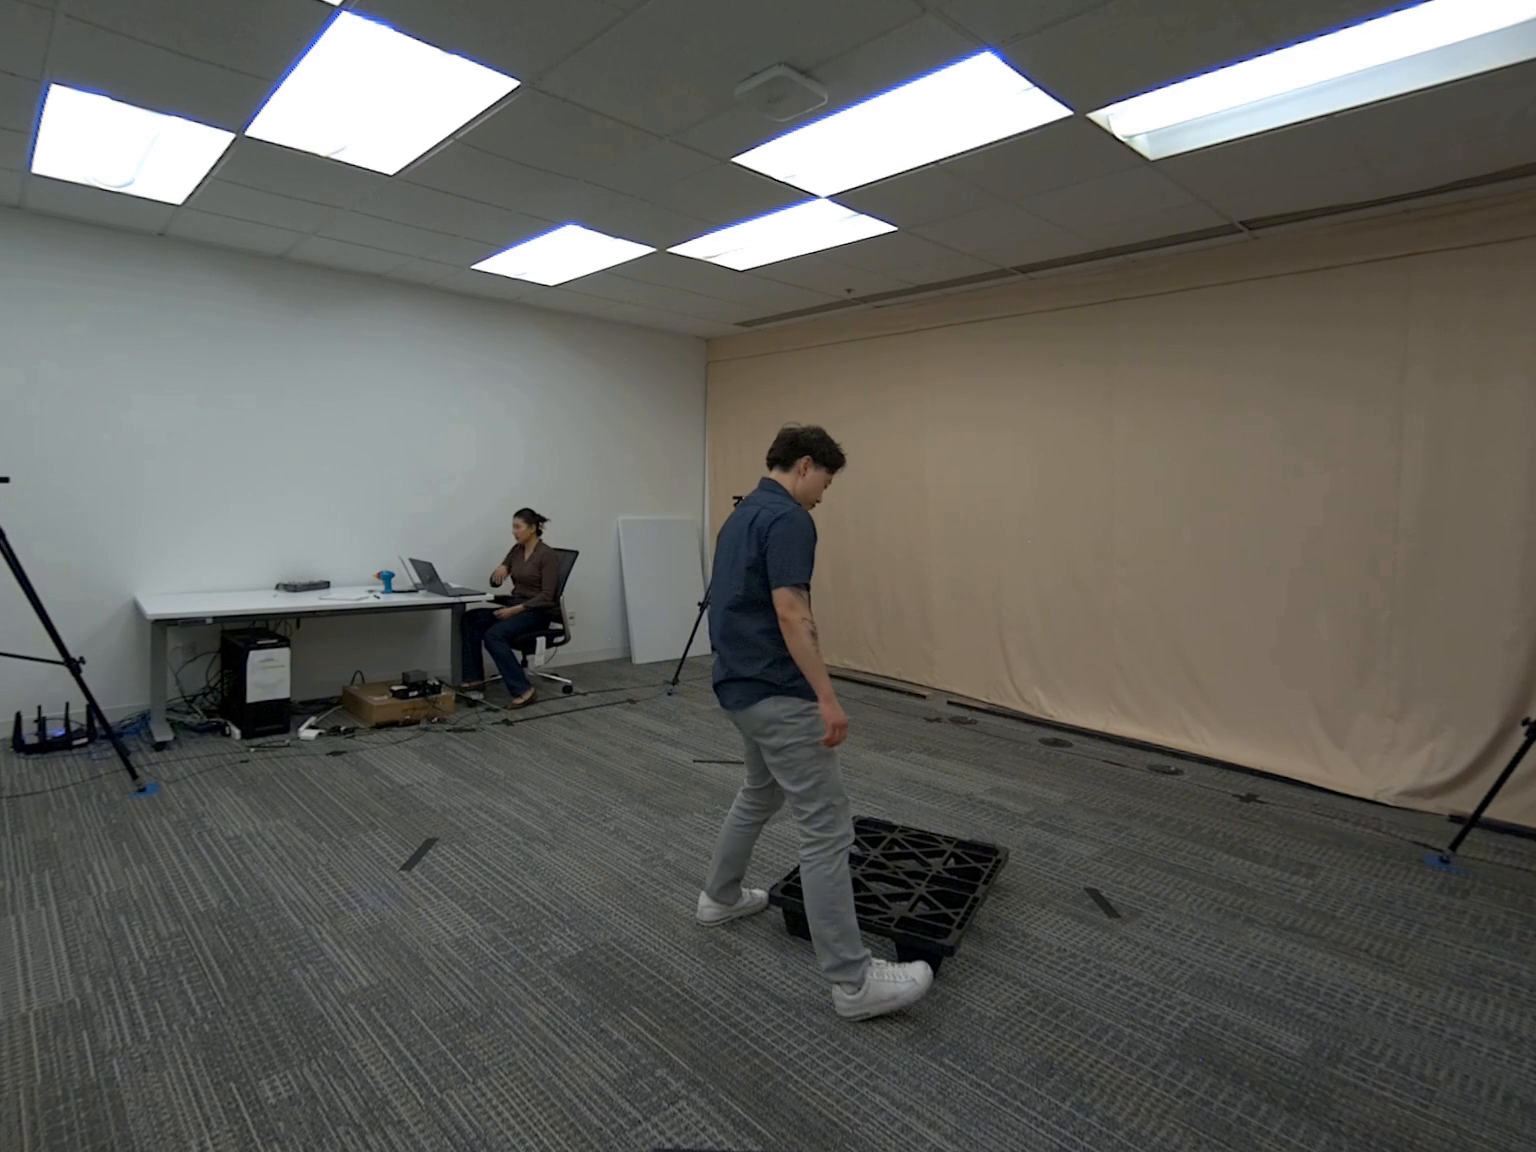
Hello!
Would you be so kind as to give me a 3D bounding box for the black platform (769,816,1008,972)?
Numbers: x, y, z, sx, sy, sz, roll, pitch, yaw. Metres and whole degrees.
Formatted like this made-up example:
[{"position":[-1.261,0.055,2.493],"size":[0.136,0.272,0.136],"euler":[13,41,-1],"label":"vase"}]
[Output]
[{"position":[0.426,1.067,2.884],"size":[0.618,0.143,0.791],"euler":[4,6,28],"label":"black platform"}]
